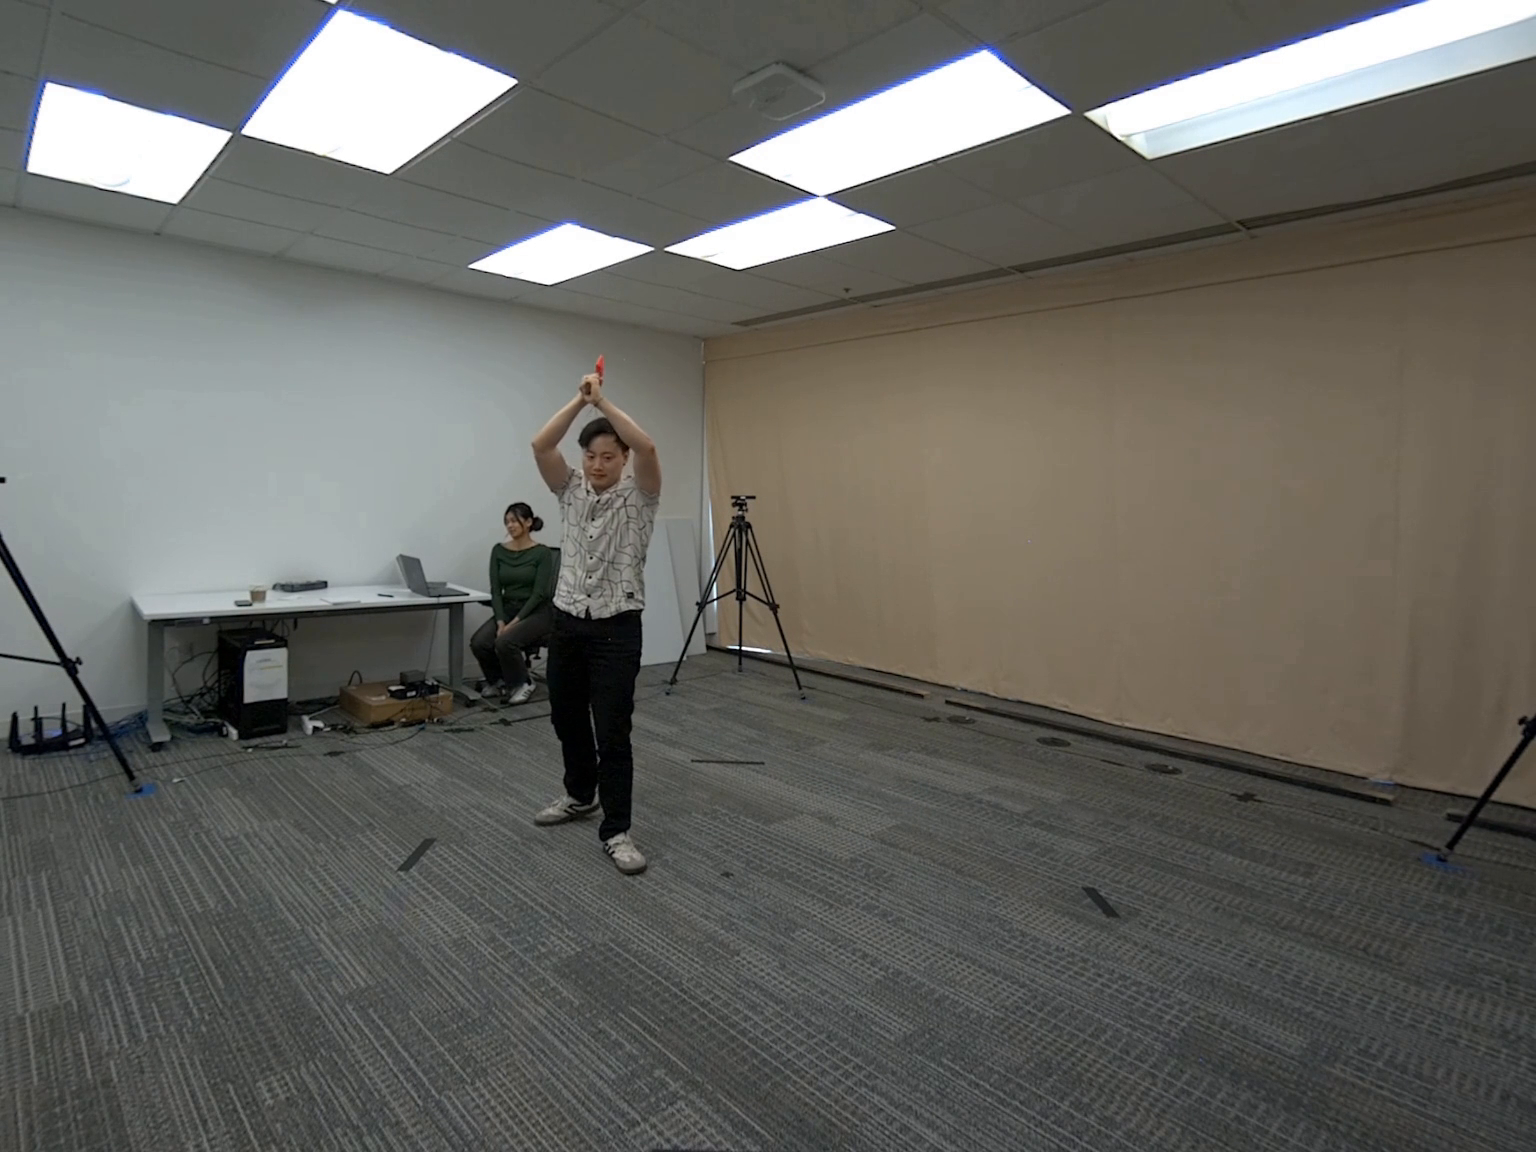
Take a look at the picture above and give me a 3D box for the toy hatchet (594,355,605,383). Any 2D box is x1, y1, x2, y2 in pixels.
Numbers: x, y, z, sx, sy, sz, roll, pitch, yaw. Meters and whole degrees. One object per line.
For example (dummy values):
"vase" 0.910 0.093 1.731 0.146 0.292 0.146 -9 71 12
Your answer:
"toy hatchet" -0.659 -0.746 3.096 0.029 0.130 0.272 16 17 -3
